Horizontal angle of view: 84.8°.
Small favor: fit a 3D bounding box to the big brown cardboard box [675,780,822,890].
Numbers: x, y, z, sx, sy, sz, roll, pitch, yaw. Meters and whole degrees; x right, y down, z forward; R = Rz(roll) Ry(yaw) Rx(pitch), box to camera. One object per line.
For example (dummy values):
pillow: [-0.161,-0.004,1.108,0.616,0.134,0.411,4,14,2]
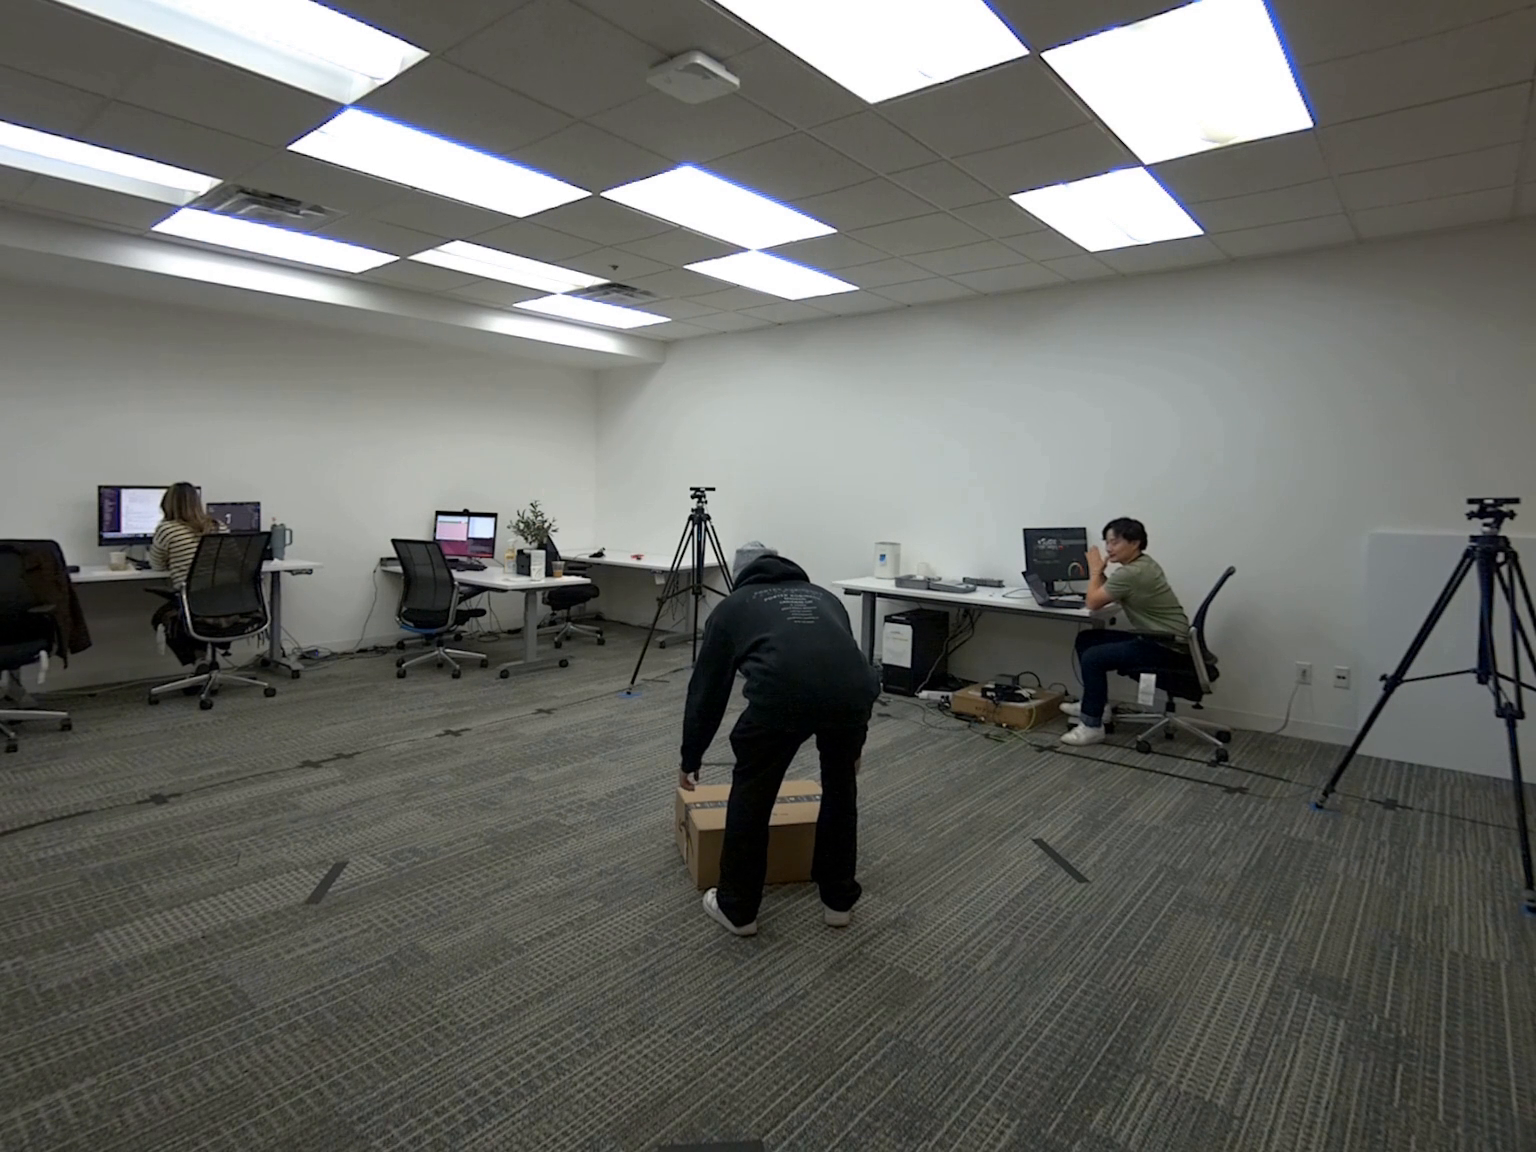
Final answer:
big brown cardboard box: [-0.036,0.949,3.186,0.581,0.232,0.425,1,6,-13]
